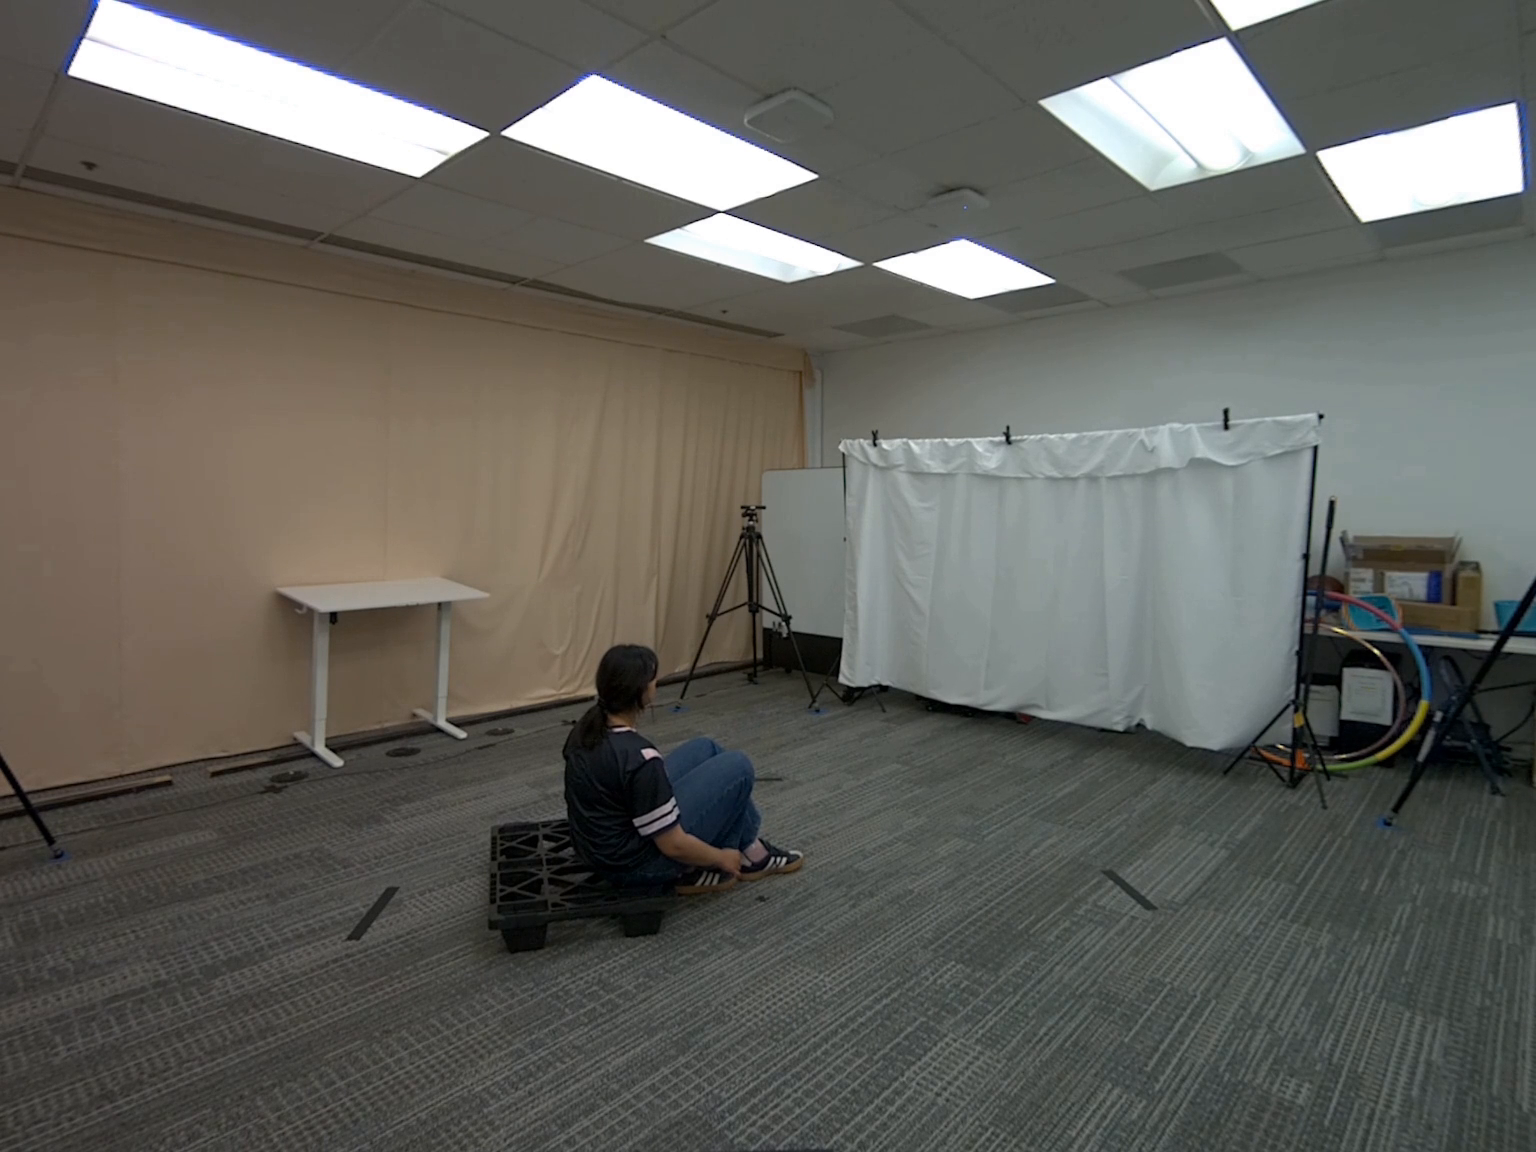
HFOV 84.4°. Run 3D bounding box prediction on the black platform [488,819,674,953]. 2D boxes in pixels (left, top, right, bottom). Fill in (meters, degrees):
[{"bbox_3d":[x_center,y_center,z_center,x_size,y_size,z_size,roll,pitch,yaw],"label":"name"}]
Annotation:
[{"bbox_3d":[-0.697,1.080,3.037,0.596,0.143,0.820,-2,6,-16],"label":"black platform"}]
